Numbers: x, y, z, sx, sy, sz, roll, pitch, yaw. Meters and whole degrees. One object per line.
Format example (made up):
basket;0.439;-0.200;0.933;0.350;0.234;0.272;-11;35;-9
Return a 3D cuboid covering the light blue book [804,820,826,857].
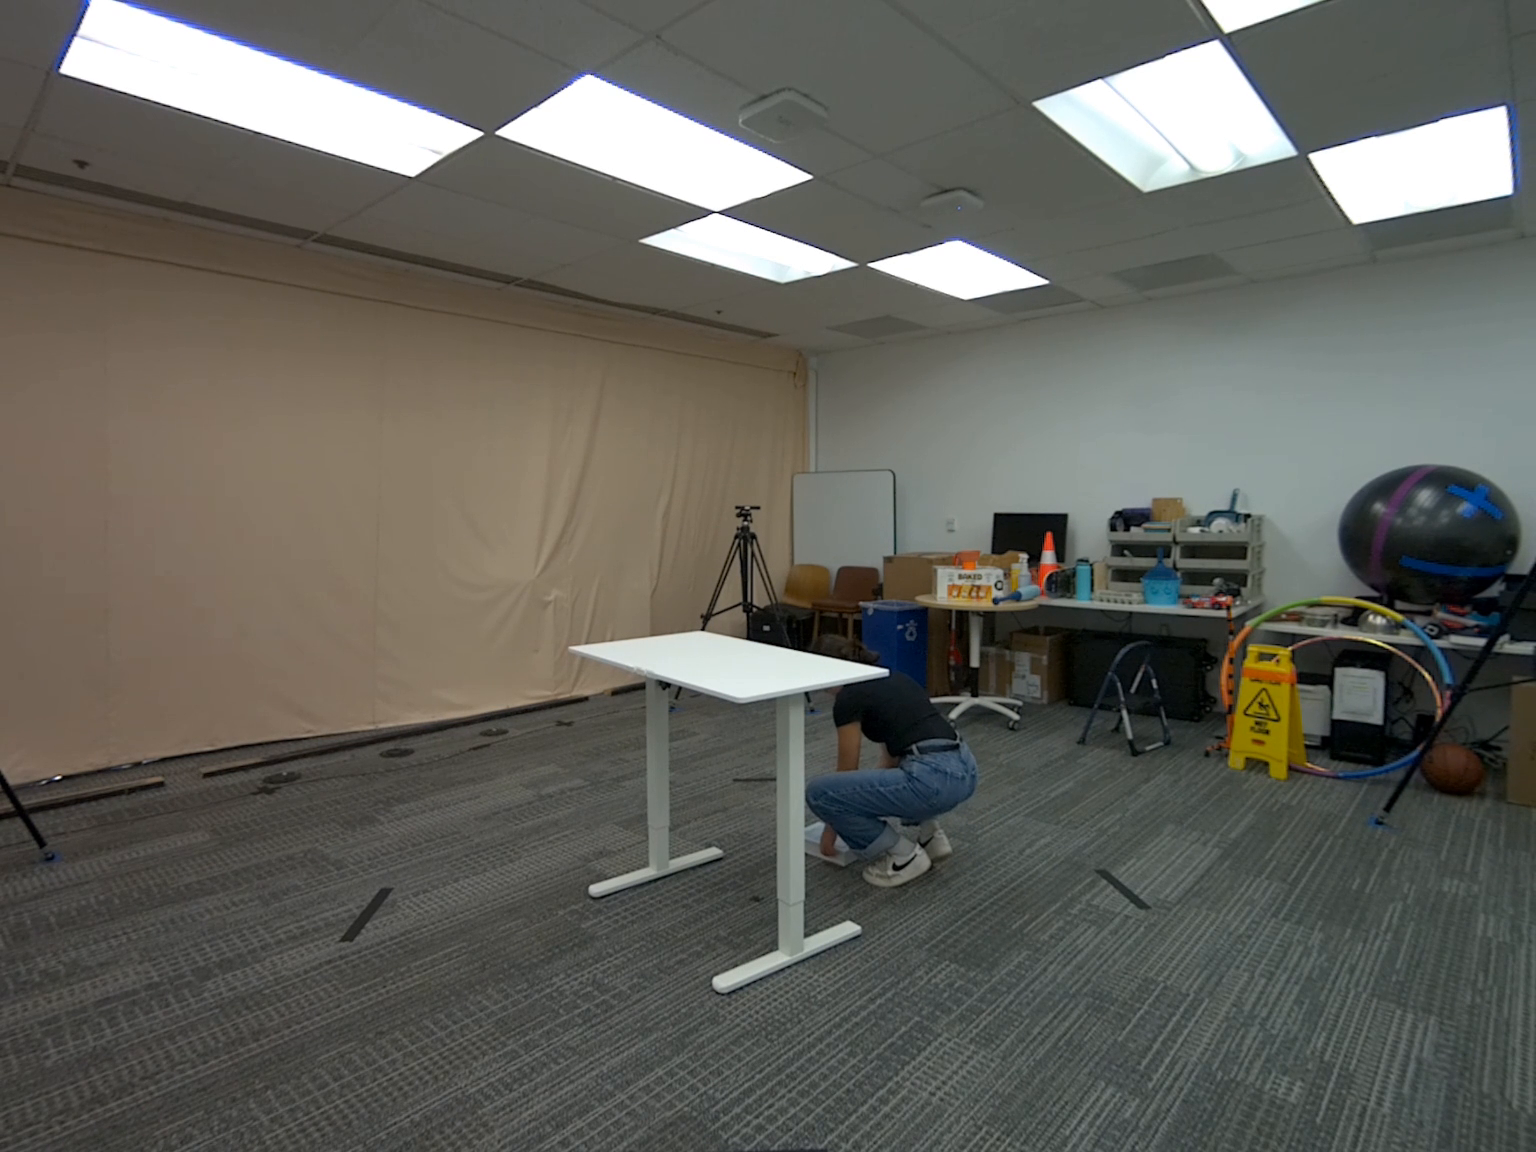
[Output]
light blue book;0.262;1.084;3.408;0.270;0.059;0.185;4;6;42
